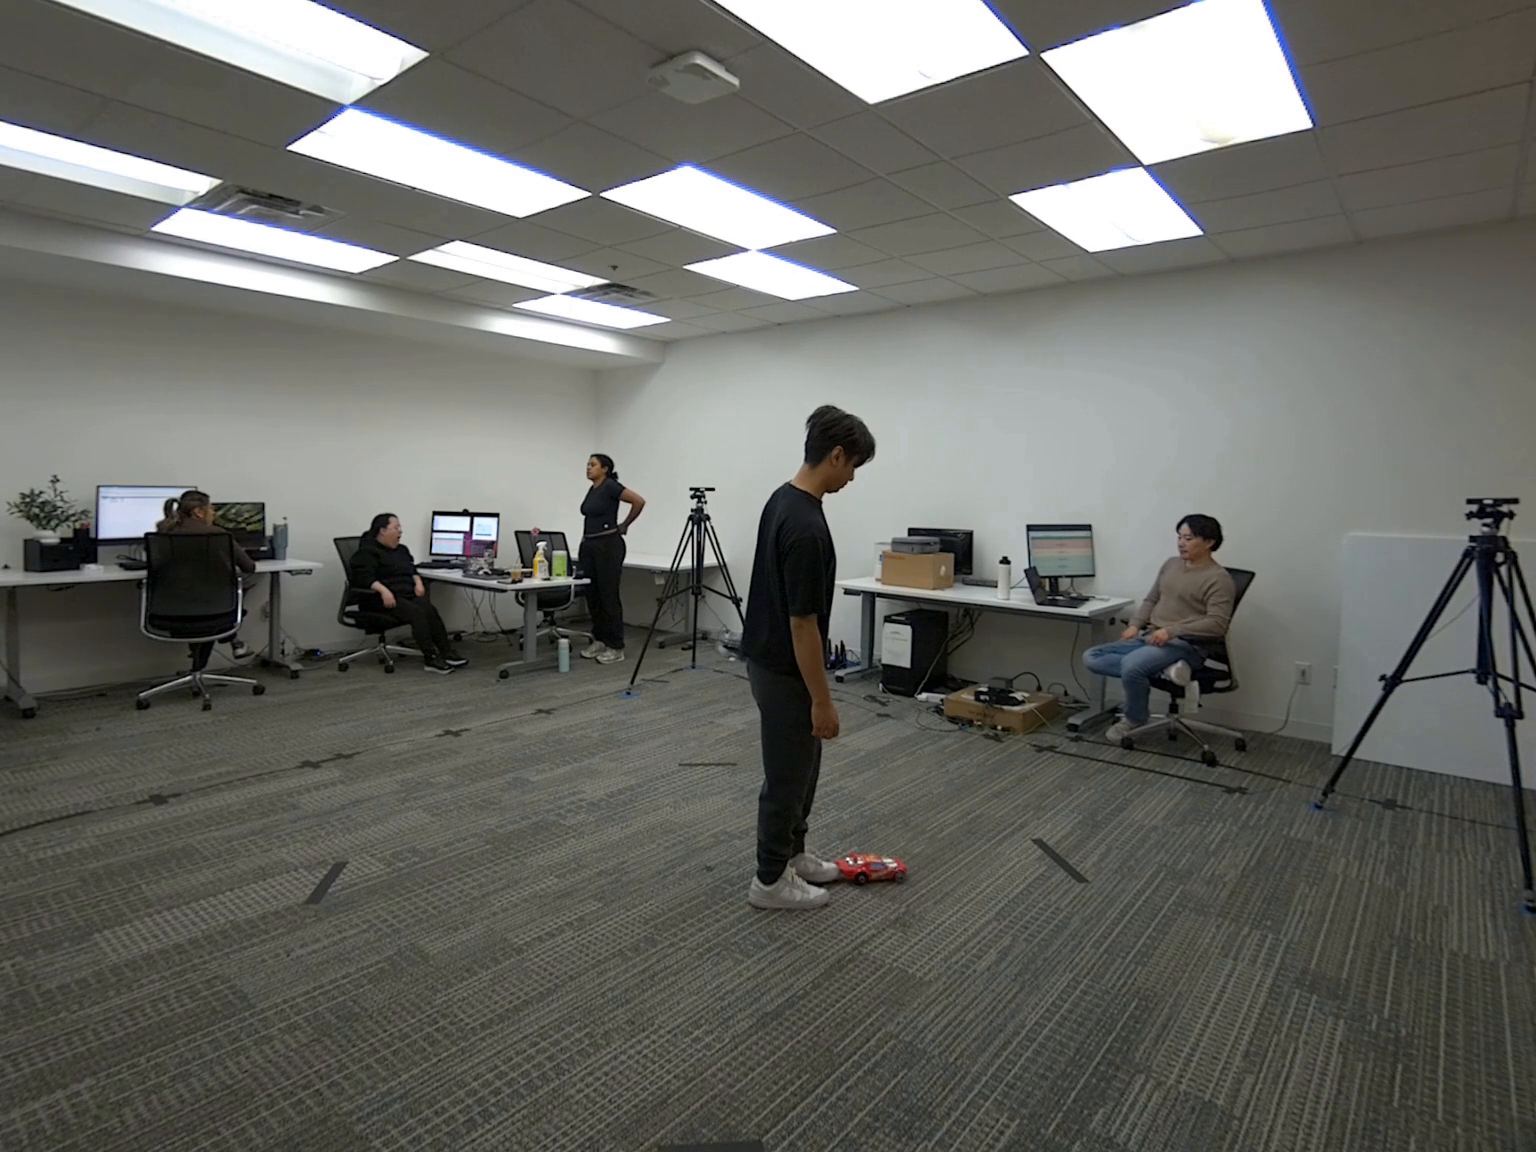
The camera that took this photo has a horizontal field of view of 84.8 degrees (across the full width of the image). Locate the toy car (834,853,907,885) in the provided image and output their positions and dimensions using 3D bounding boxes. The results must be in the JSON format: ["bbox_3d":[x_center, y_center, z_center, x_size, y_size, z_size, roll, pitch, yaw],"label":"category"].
[{"bbox_3d":[0.360,1.053,3.065,0.251,0.083,0.132,11,3,-11],"label":"toy car"}]
